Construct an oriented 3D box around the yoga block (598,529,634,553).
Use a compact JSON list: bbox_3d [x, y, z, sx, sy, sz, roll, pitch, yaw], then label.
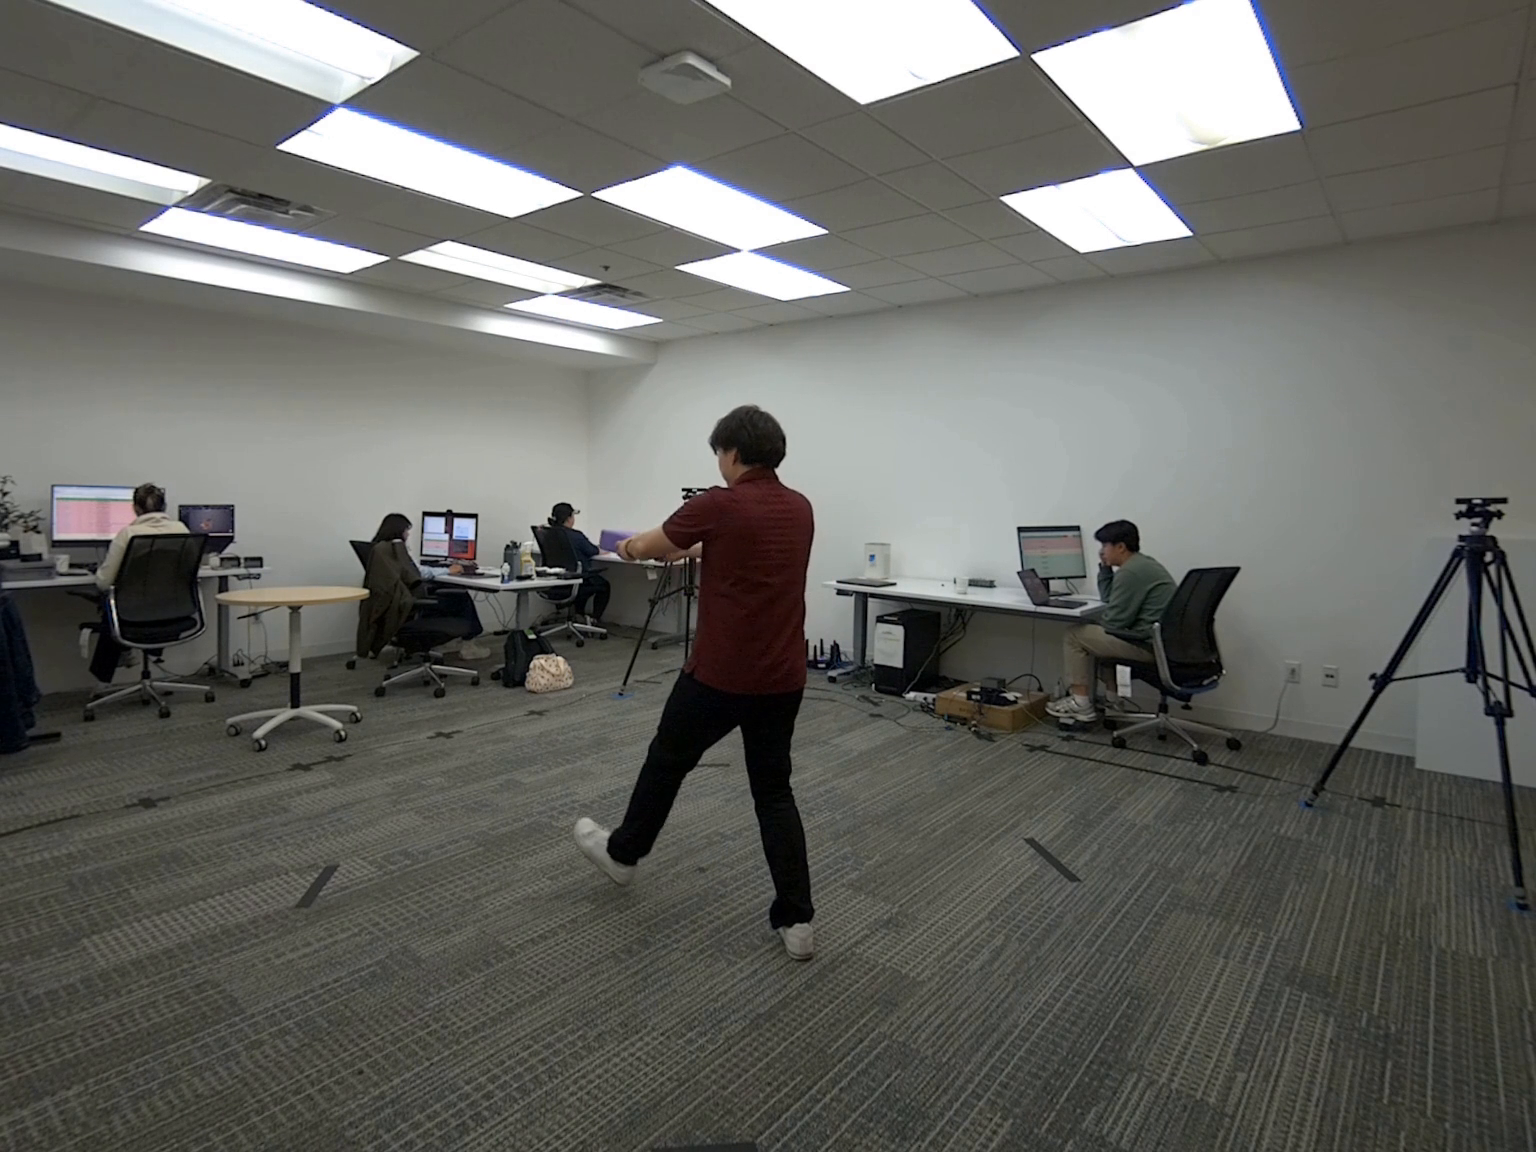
[{"bbox_3d":[-0.516,-0.107,3.166,0.144,0.076,0.238,2,7,-39],"label":"yoga block"}]
